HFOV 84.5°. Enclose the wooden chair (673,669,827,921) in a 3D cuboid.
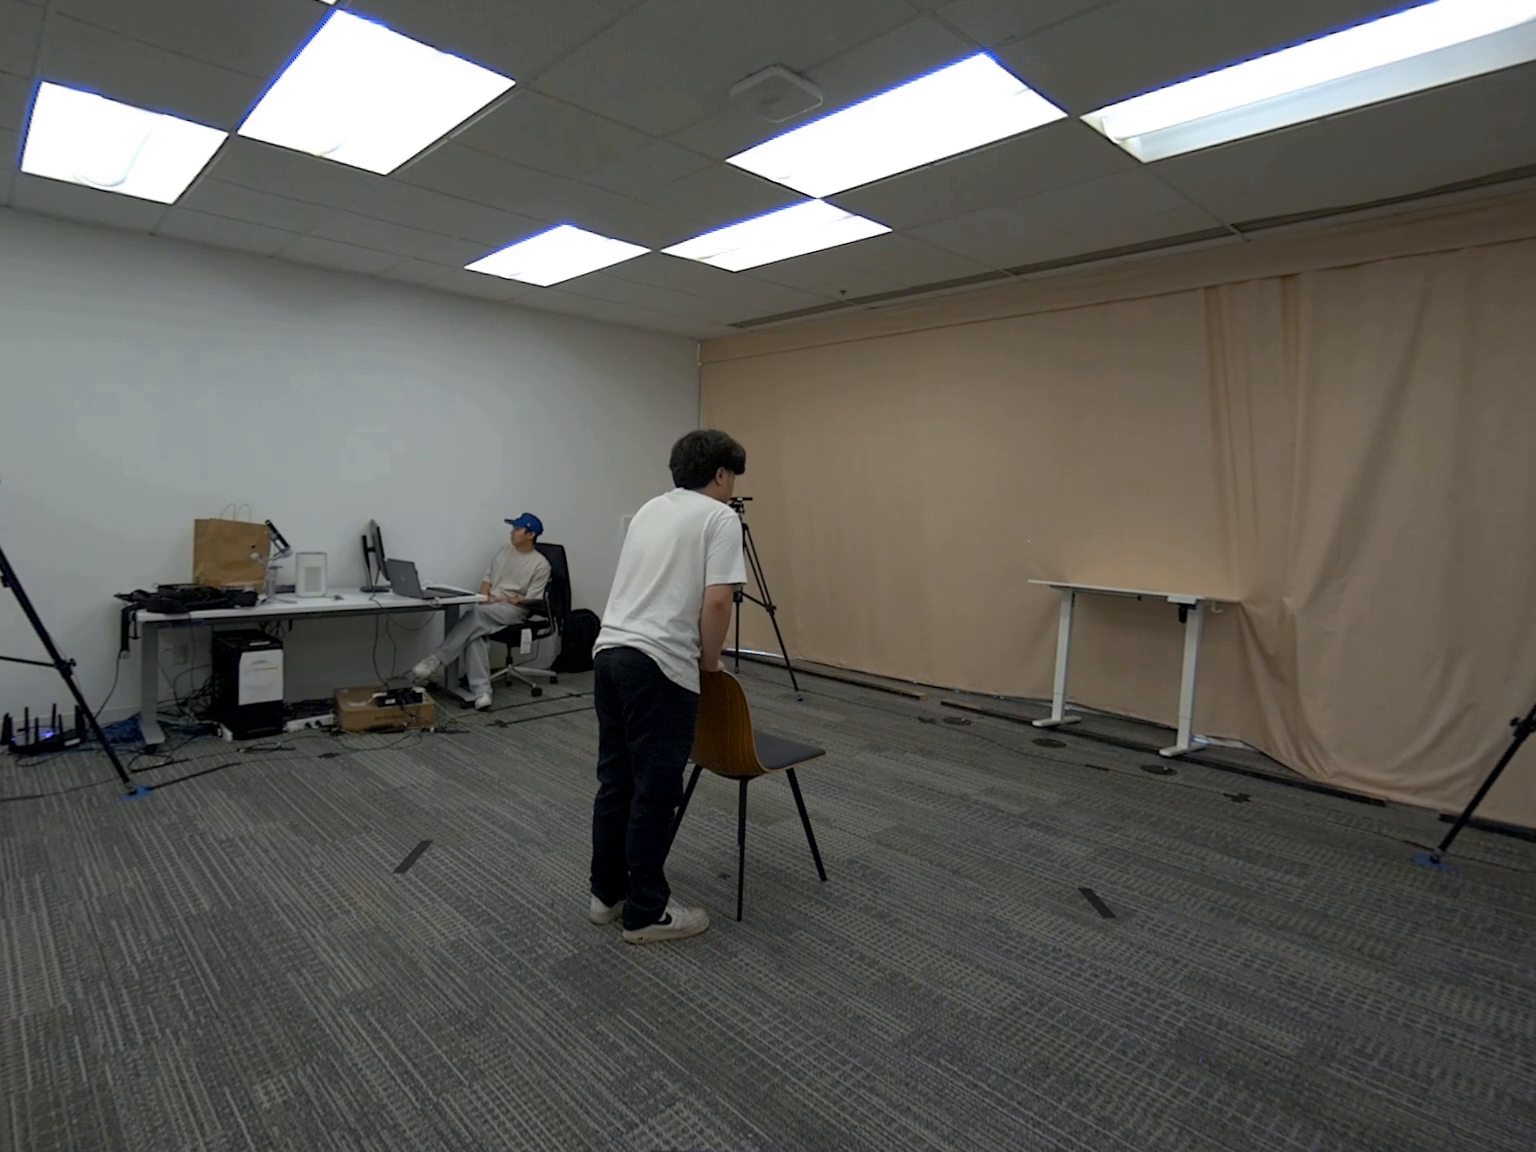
[{"bbox_3d":[-0.092,0.688,3.063,0.490,0.873,0.512,4,9,44],"label":"wooden chair"}]
